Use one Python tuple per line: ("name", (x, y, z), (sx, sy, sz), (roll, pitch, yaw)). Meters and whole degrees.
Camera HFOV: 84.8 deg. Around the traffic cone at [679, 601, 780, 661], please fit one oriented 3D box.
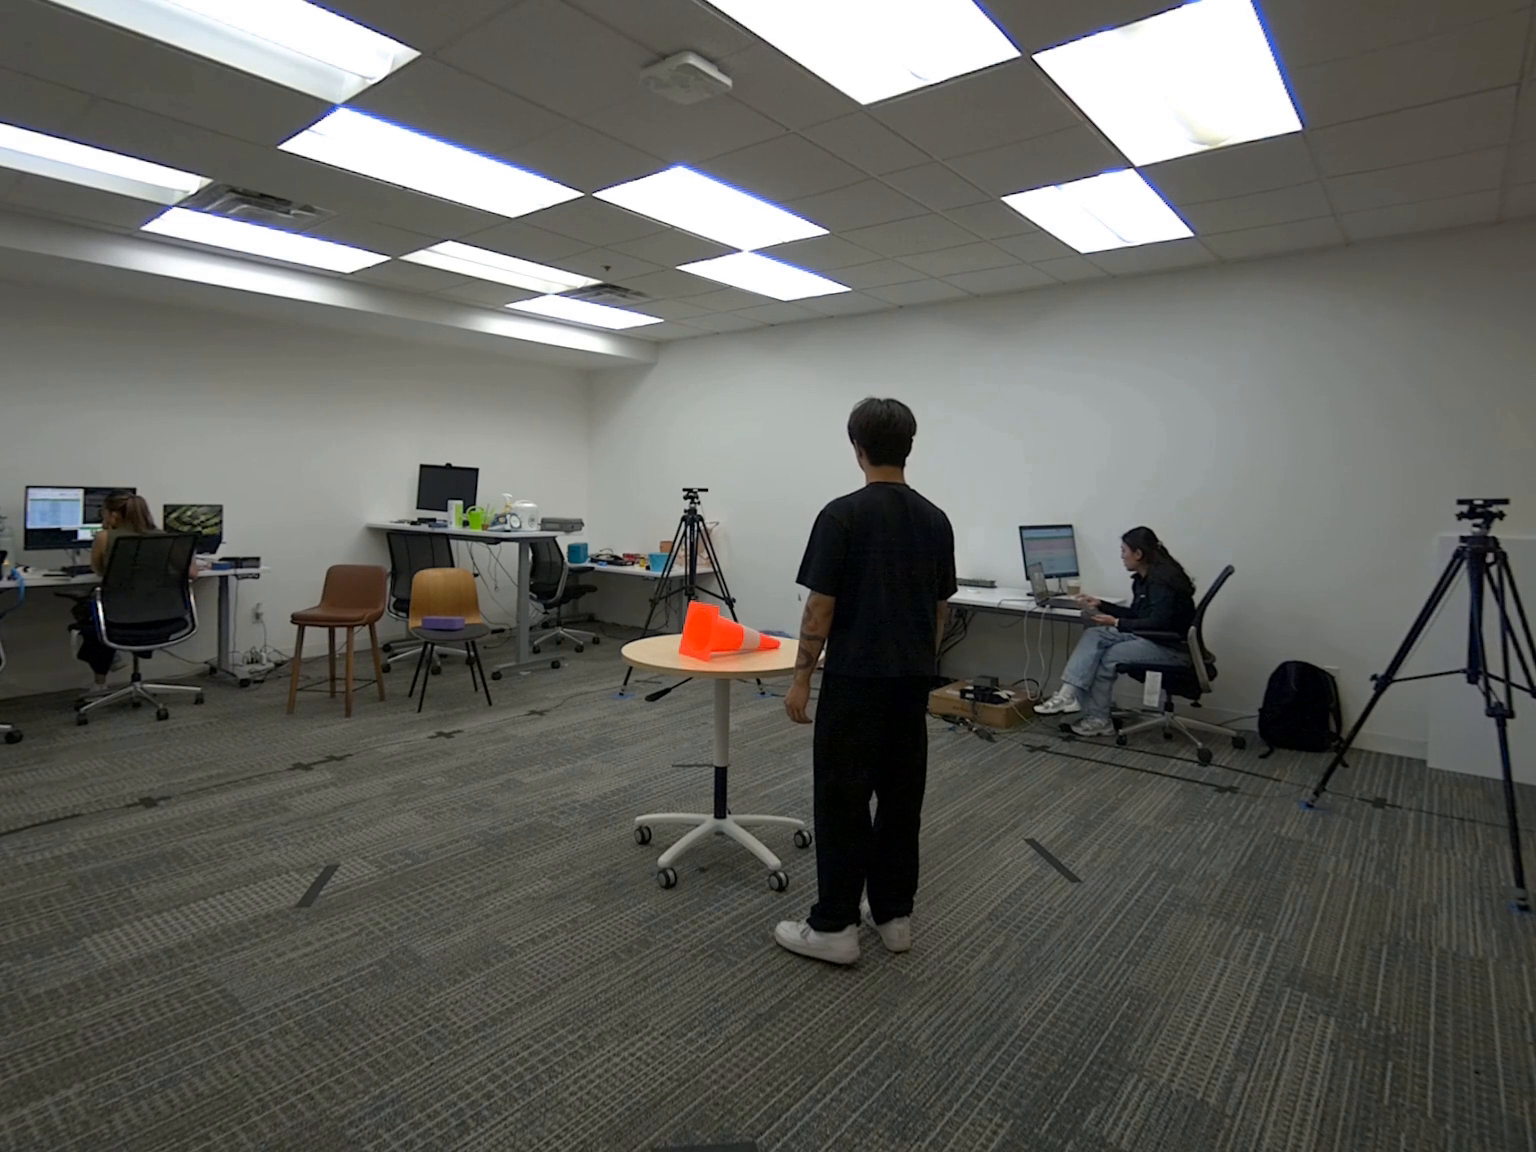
("traffic cone", (-0.115, 0.229, 3.172), (0.370, 0.205, 0.210), (13, -3, -37))
